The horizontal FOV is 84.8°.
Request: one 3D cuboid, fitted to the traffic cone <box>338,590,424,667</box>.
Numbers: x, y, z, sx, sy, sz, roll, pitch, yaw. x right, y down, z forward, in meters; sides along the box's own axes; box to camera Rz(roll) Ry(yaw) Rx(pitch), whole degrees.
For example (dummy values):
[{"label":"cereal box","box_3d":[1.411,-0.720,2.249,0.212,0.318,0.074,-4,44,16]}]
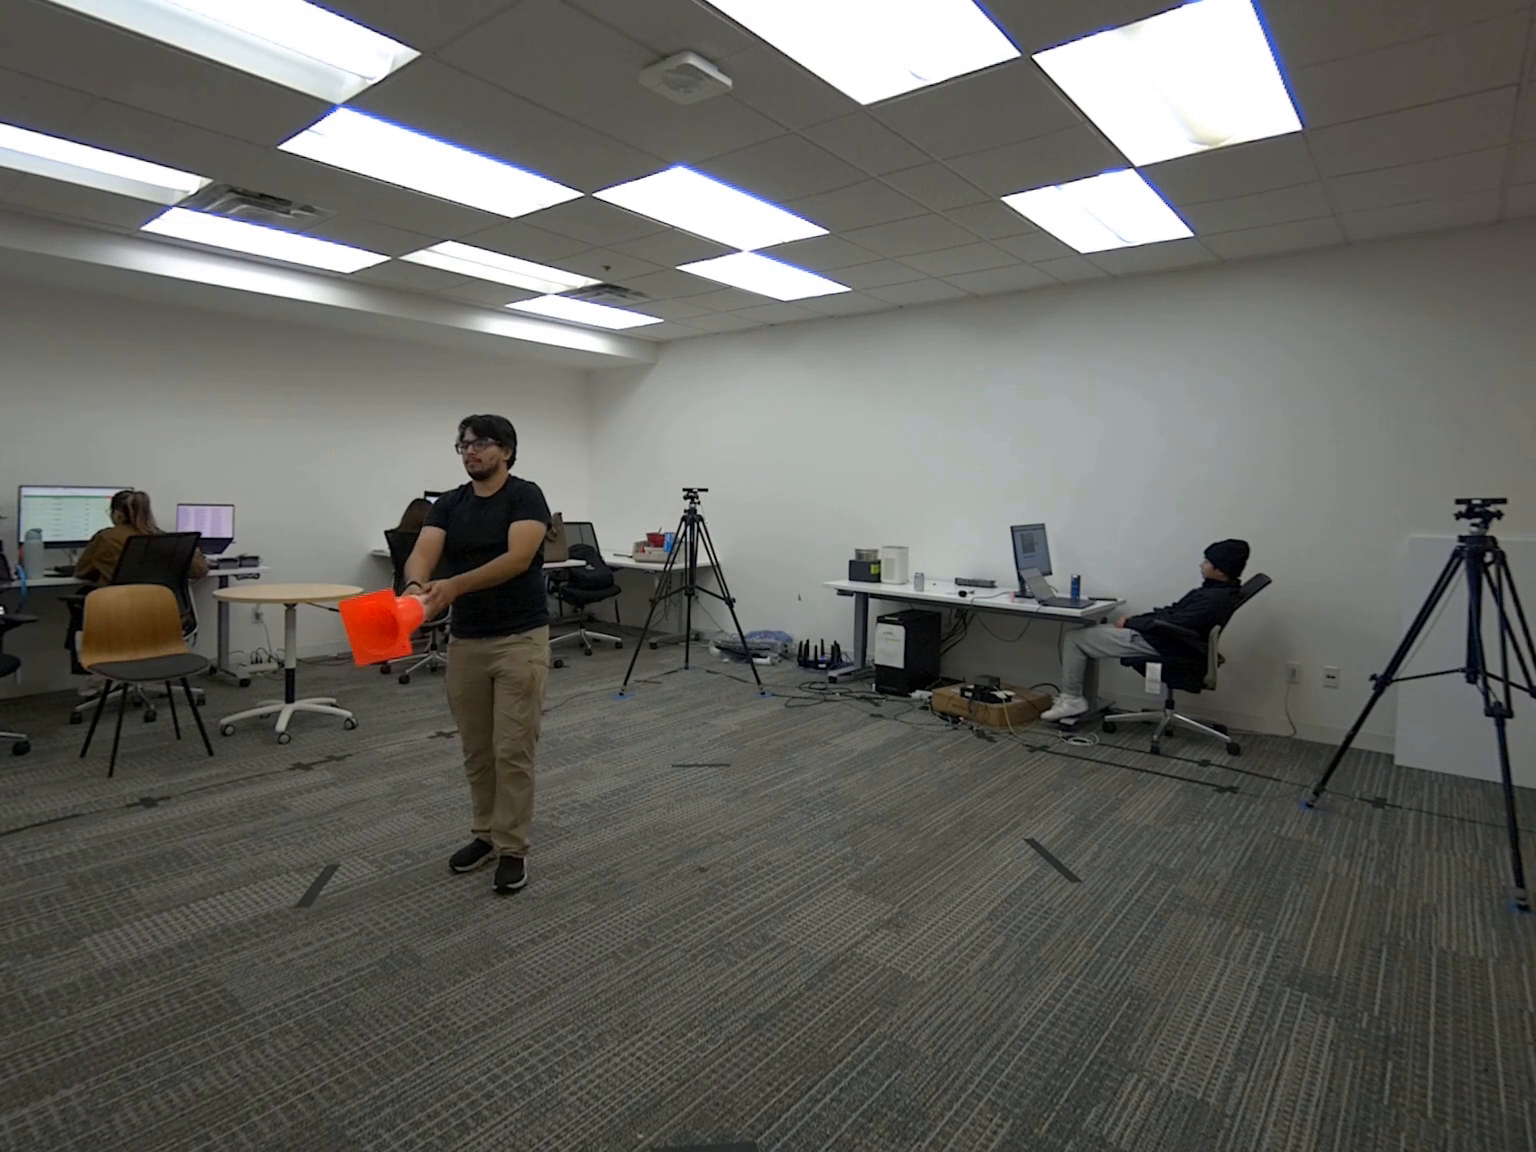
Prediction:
[{"label":"traffic cone","box_3d":[-1.119,0.108,2.633,0.205,0.204,0.383,2,8,6]}]
